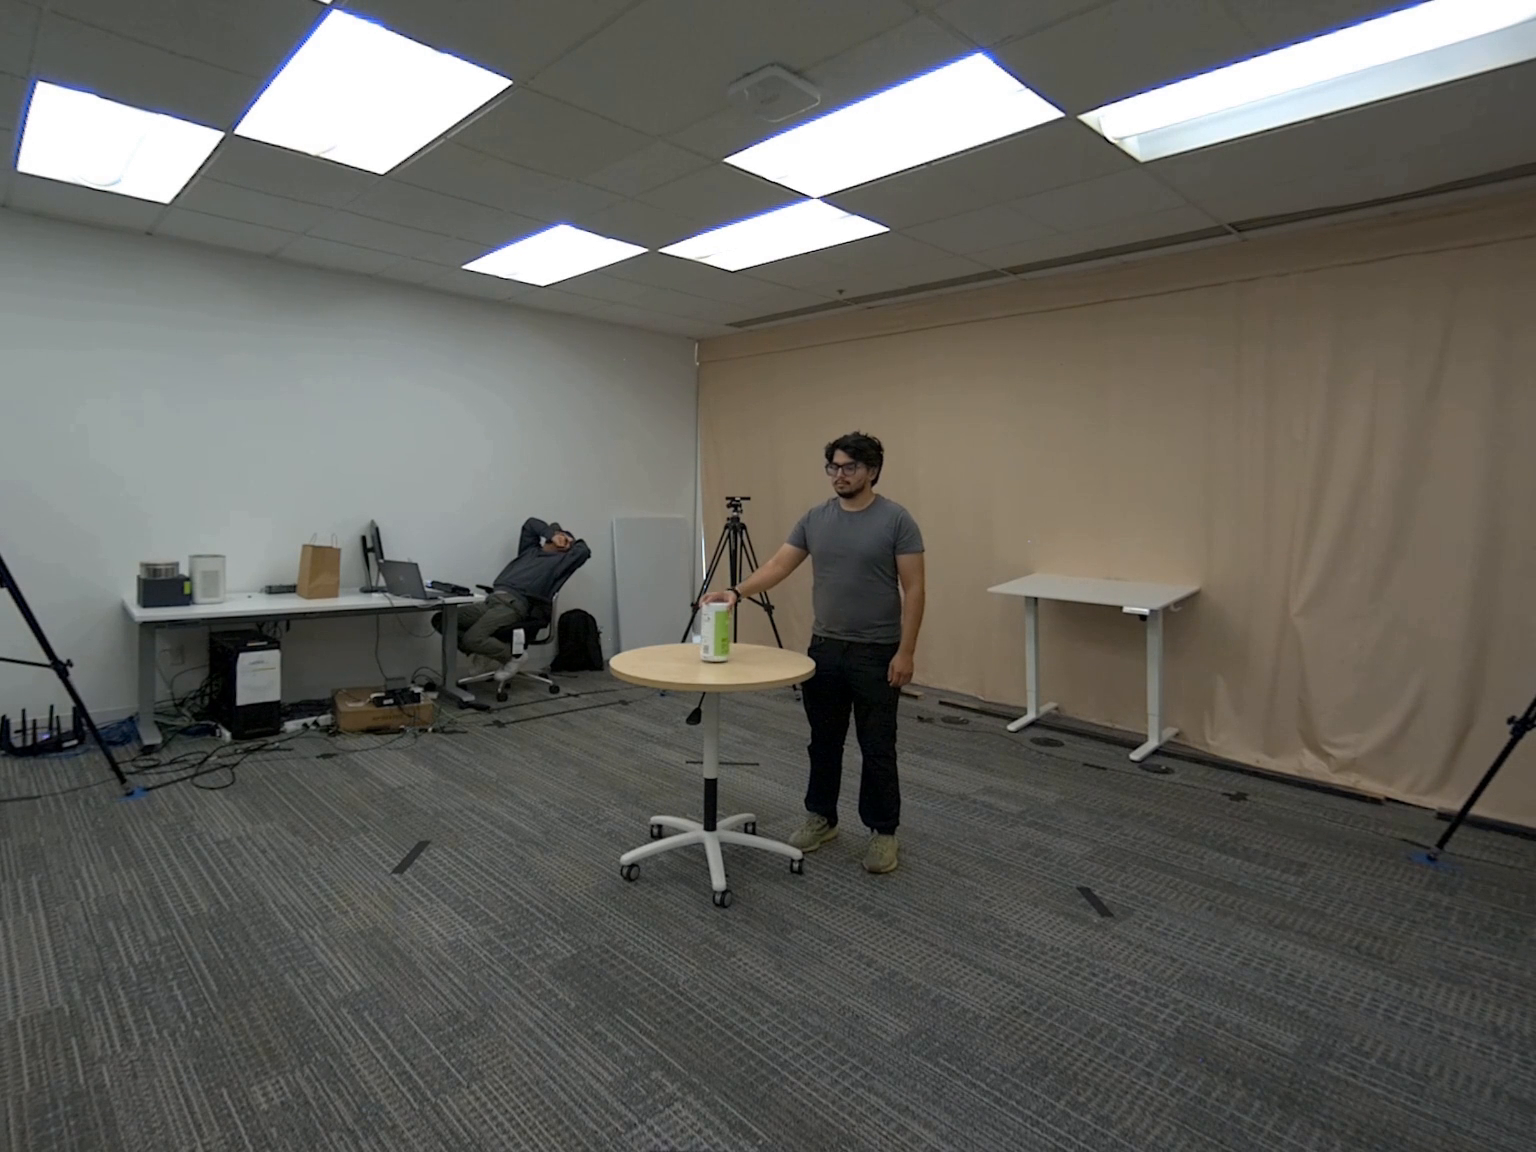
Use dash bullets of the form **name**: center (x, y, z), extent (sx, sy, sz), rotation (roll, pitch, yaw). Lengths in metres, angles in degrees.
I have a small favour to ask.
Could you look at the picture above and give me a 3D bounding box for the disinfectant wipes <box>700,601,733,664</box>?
- **disinfectant wipes**: center (-0.202, 0.206, 3.131), extent (0.118, 0.217, 0.118), rotation (1, 2, -1)
